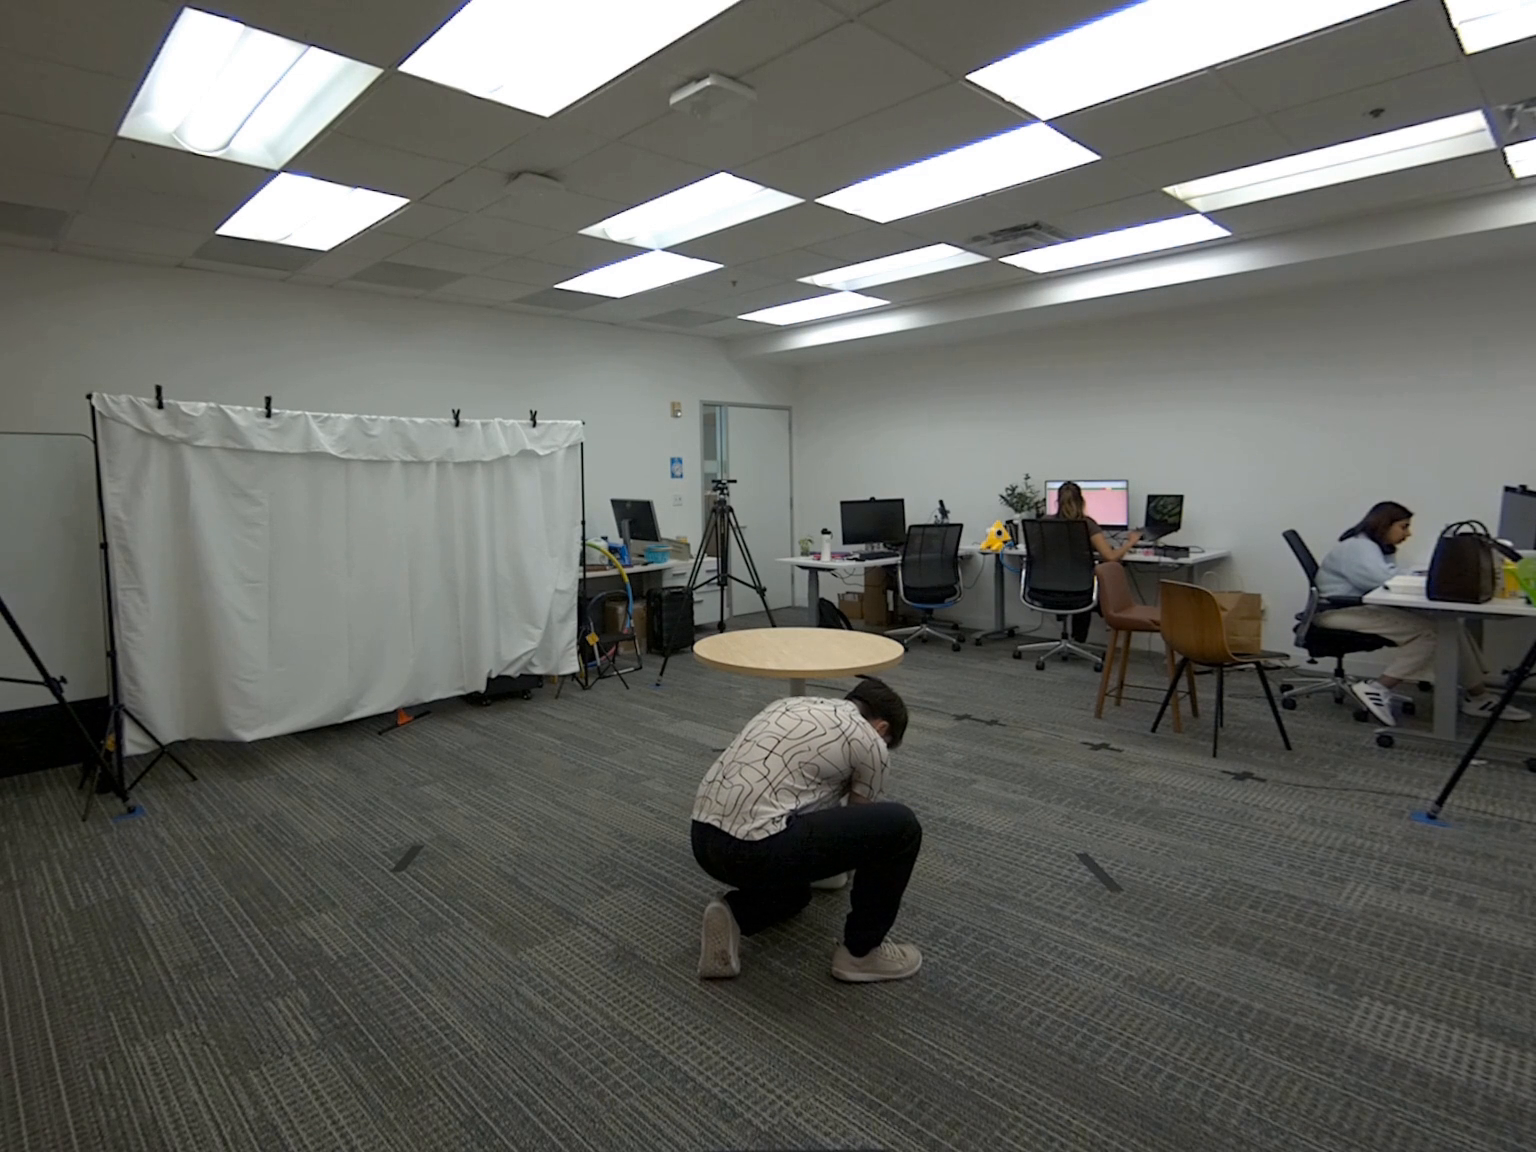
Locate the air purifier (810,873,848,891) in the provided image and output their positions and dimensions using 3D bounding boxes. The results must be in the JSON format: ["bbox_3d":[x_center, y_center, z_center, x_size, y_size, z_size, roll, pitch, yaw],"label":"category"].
[{"bbox_3d":[0.207,0.918,2.939,0.172,0.264,0.172,-3,6,5],"label":"air purifier"}]
